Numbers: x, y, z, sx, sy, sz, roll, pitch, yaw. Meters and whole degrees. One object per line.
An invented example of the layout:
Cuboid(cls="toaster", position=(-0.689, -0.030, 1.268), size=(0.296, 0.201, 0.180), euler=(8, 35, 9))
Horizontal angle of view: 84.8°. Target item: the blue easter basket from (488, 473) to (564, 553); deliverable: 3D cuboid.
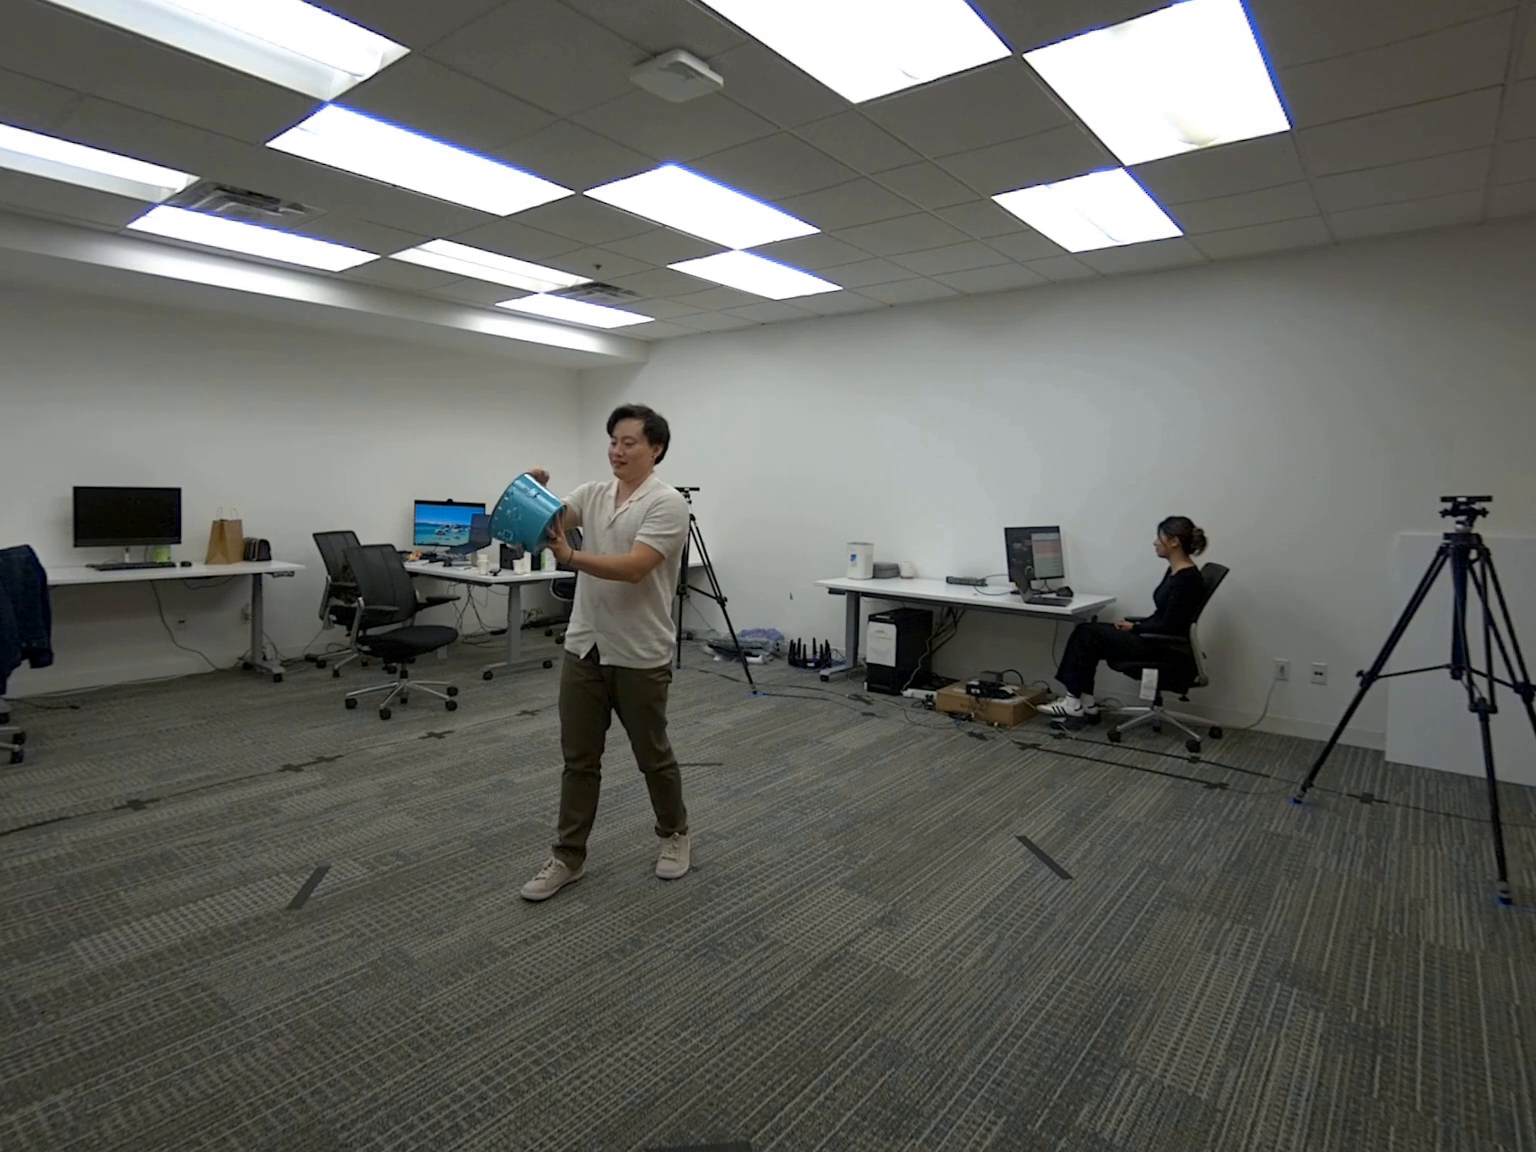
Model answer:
Cuboid(cls="blue easter basket", position=(-0.746, -0.181, 2.598), size=(0.157, 0.243, 0.242), euler=(33, 8, 4))
